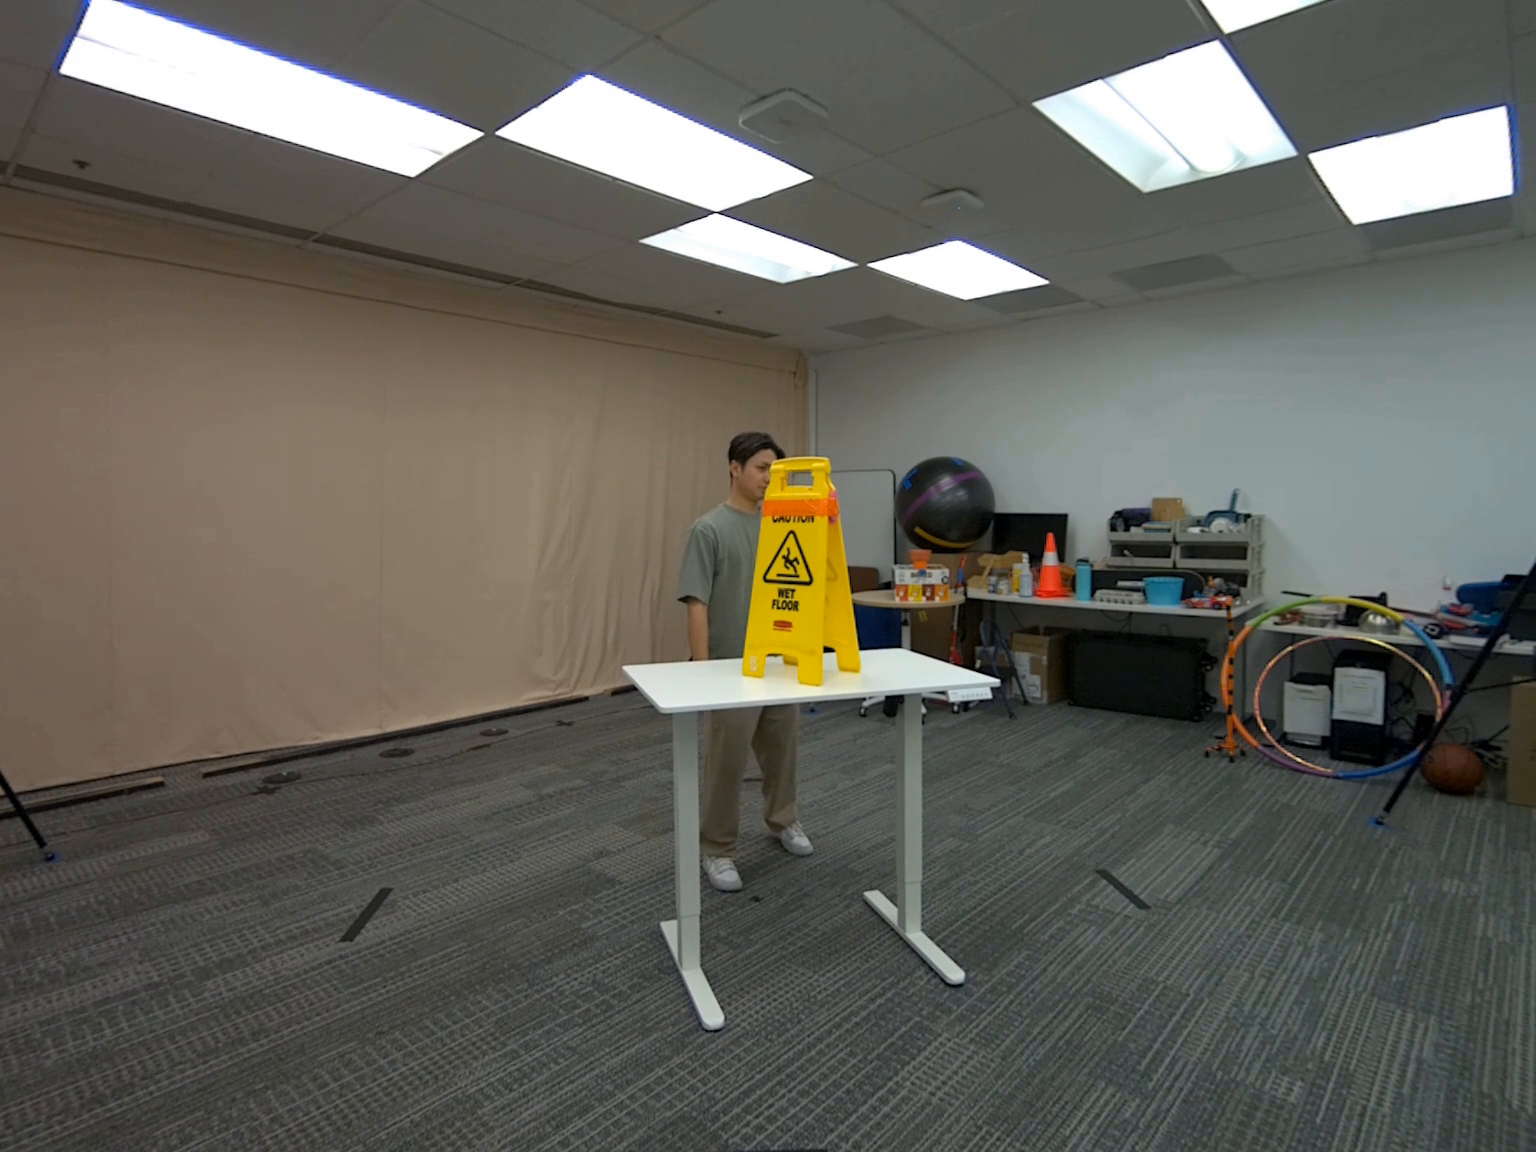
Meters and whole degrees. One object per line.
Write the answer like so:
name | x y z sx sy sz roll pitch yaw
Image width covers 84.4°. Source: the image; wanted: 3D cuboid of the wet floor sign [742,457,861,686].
wet floor sign | 0.102 -0.026 2.528 0.291 0.645 0.281 1 3 35
